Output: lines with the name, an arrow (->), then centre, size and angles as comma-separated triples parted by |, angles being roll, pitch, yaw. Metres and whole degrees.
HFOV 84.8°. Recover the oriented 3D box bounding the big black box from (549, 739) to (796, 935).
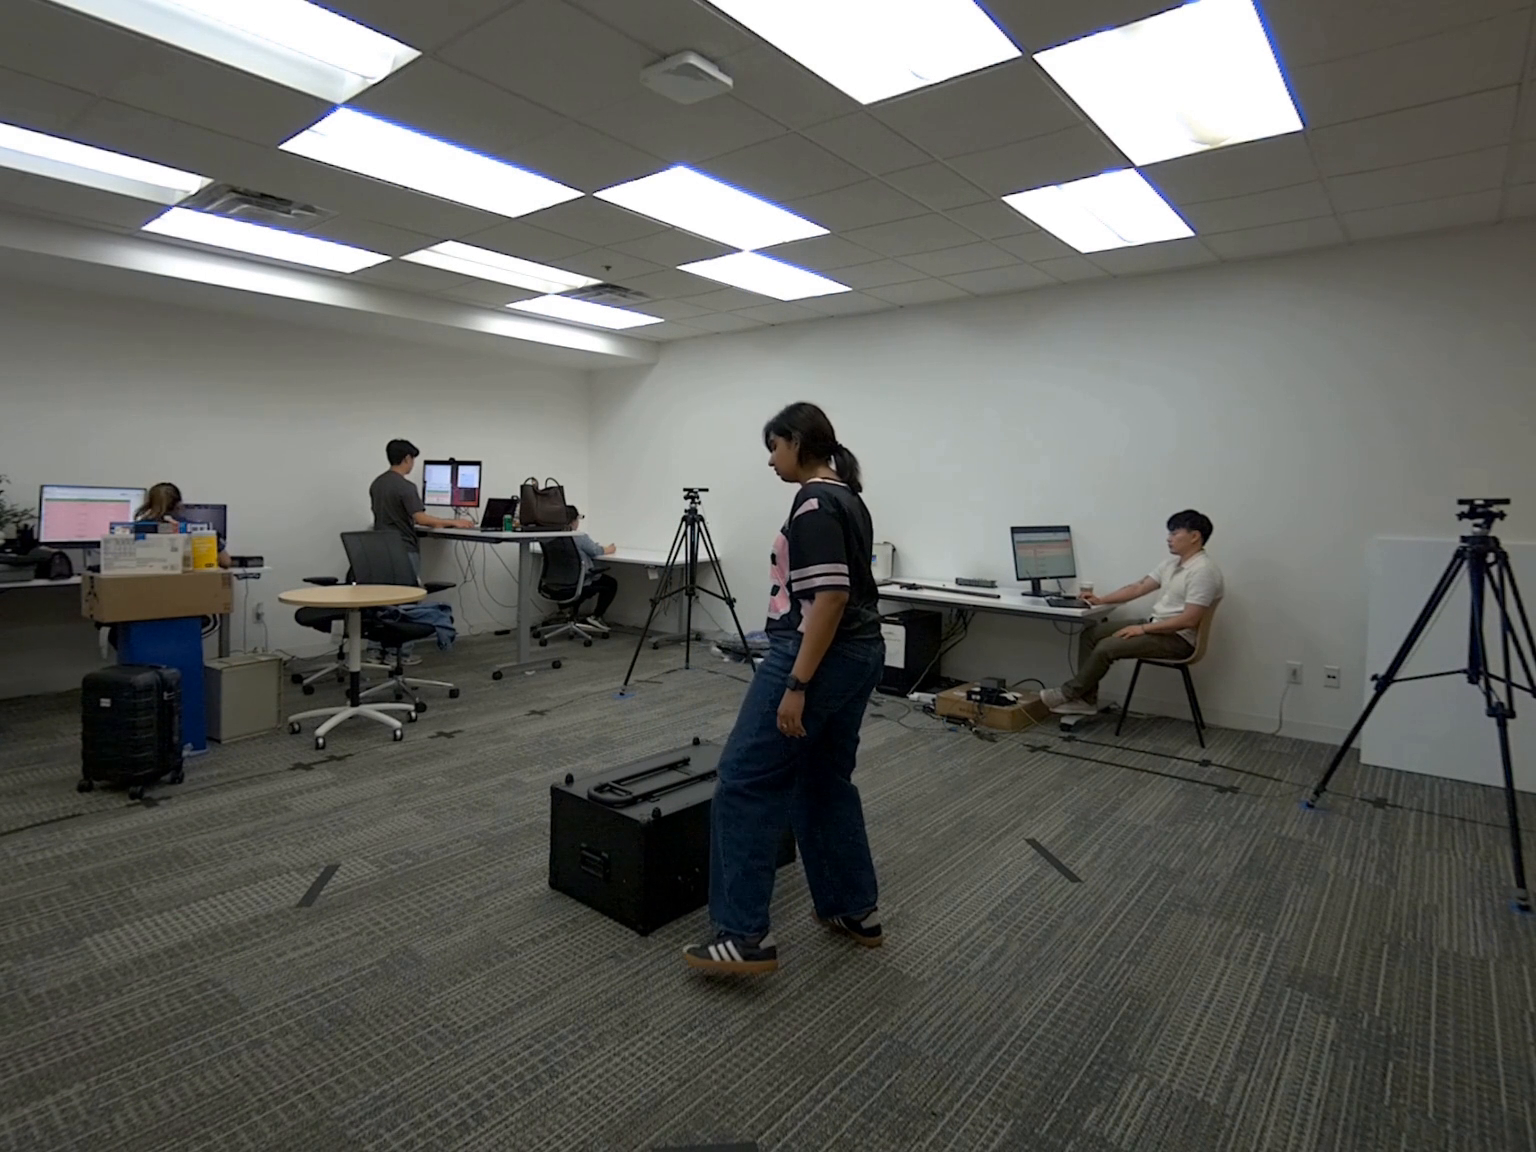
big black box -> -0.320, 0.884, 3.095 | 0.541, 0.384, 0.843 | 4, 6, 40
